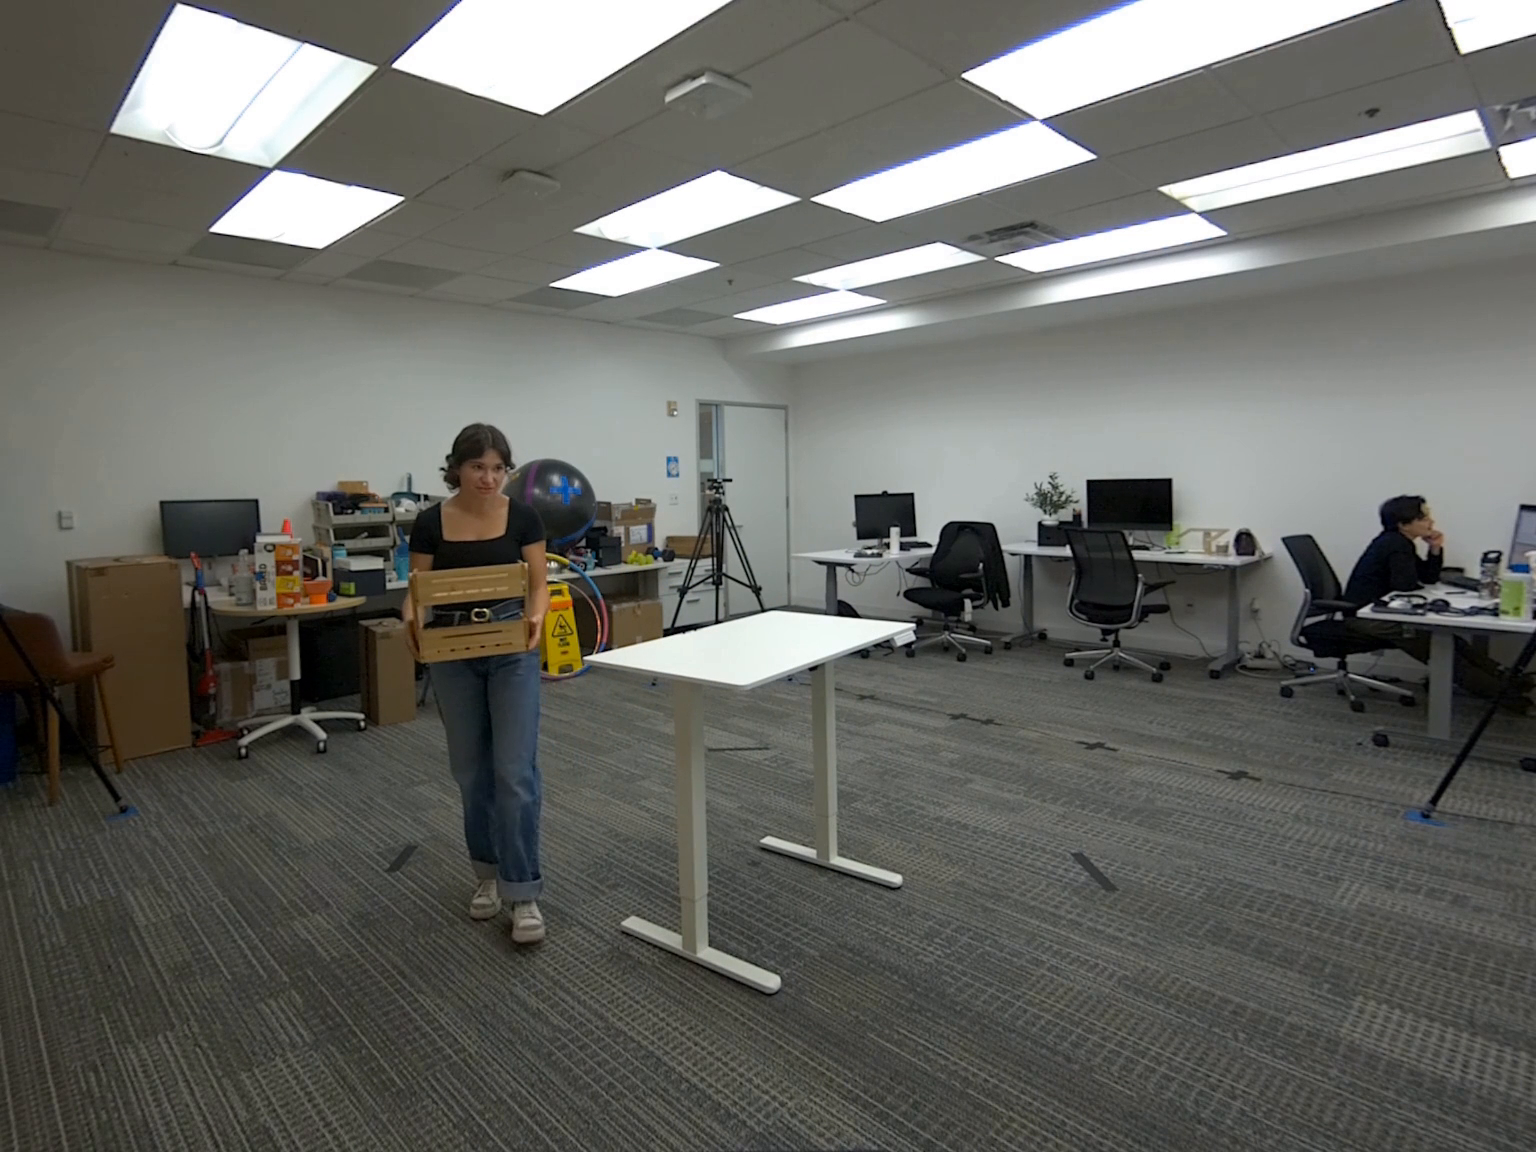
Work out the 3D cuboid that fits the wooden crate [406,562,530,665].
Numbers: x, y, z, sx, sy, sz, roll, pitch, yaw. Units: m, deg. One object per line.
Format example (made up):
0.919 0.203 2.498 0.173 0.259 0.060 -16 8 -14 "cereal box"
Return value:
-0.886 0.093 2.528 0.319 0.272 0.308 -5 6 -20 "wooden crate"
